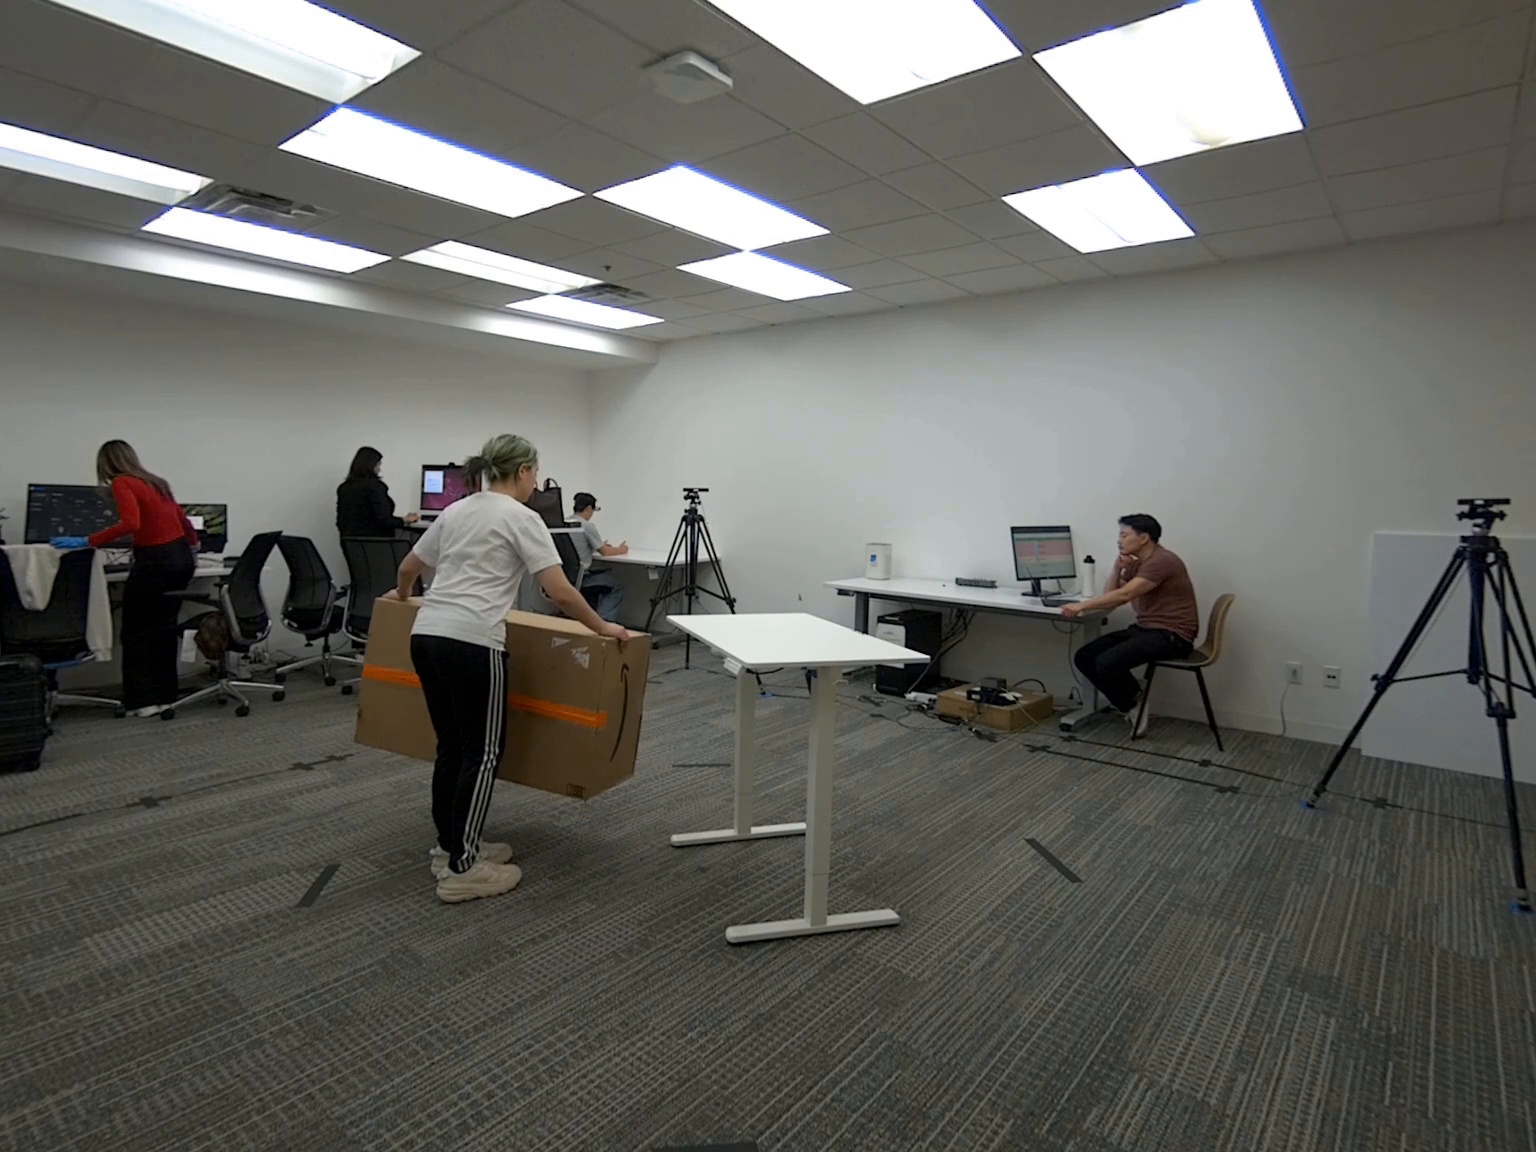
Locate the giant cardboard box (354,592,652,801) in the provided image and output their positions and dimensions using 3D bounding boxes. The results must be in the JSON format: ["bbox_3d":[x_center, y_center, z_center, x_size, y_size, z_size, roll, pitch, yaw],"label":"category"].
[{"bbox_3d":[-1.052,0.444,3.366,1.048,0.584,0.438,8,1,17],"label":"giant cardboard box"}]
